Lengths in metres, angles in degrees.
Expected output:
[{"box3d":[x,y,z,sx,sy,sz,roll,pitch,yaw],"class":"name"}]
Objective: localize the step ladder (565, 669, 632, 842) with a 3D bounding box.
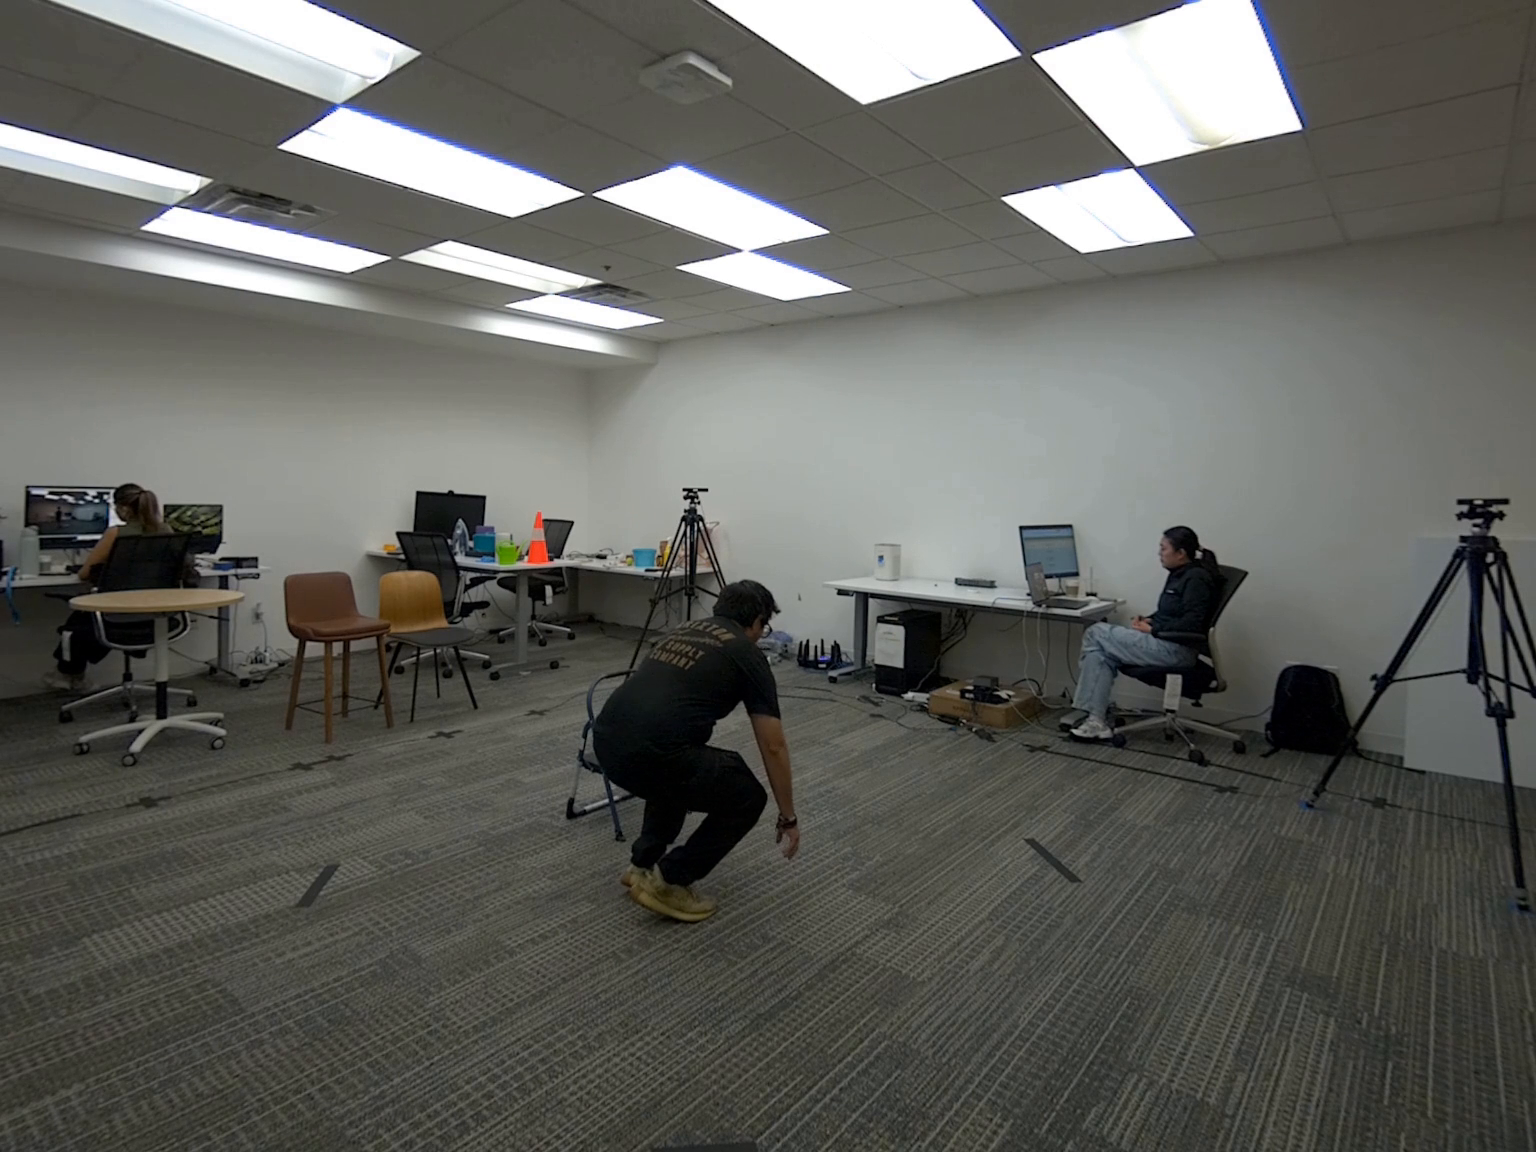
[{"box3d":[-0.596,0.712,3.598,0.361,0.605,0.418,3,4,37],"class":"step ladder"}]
